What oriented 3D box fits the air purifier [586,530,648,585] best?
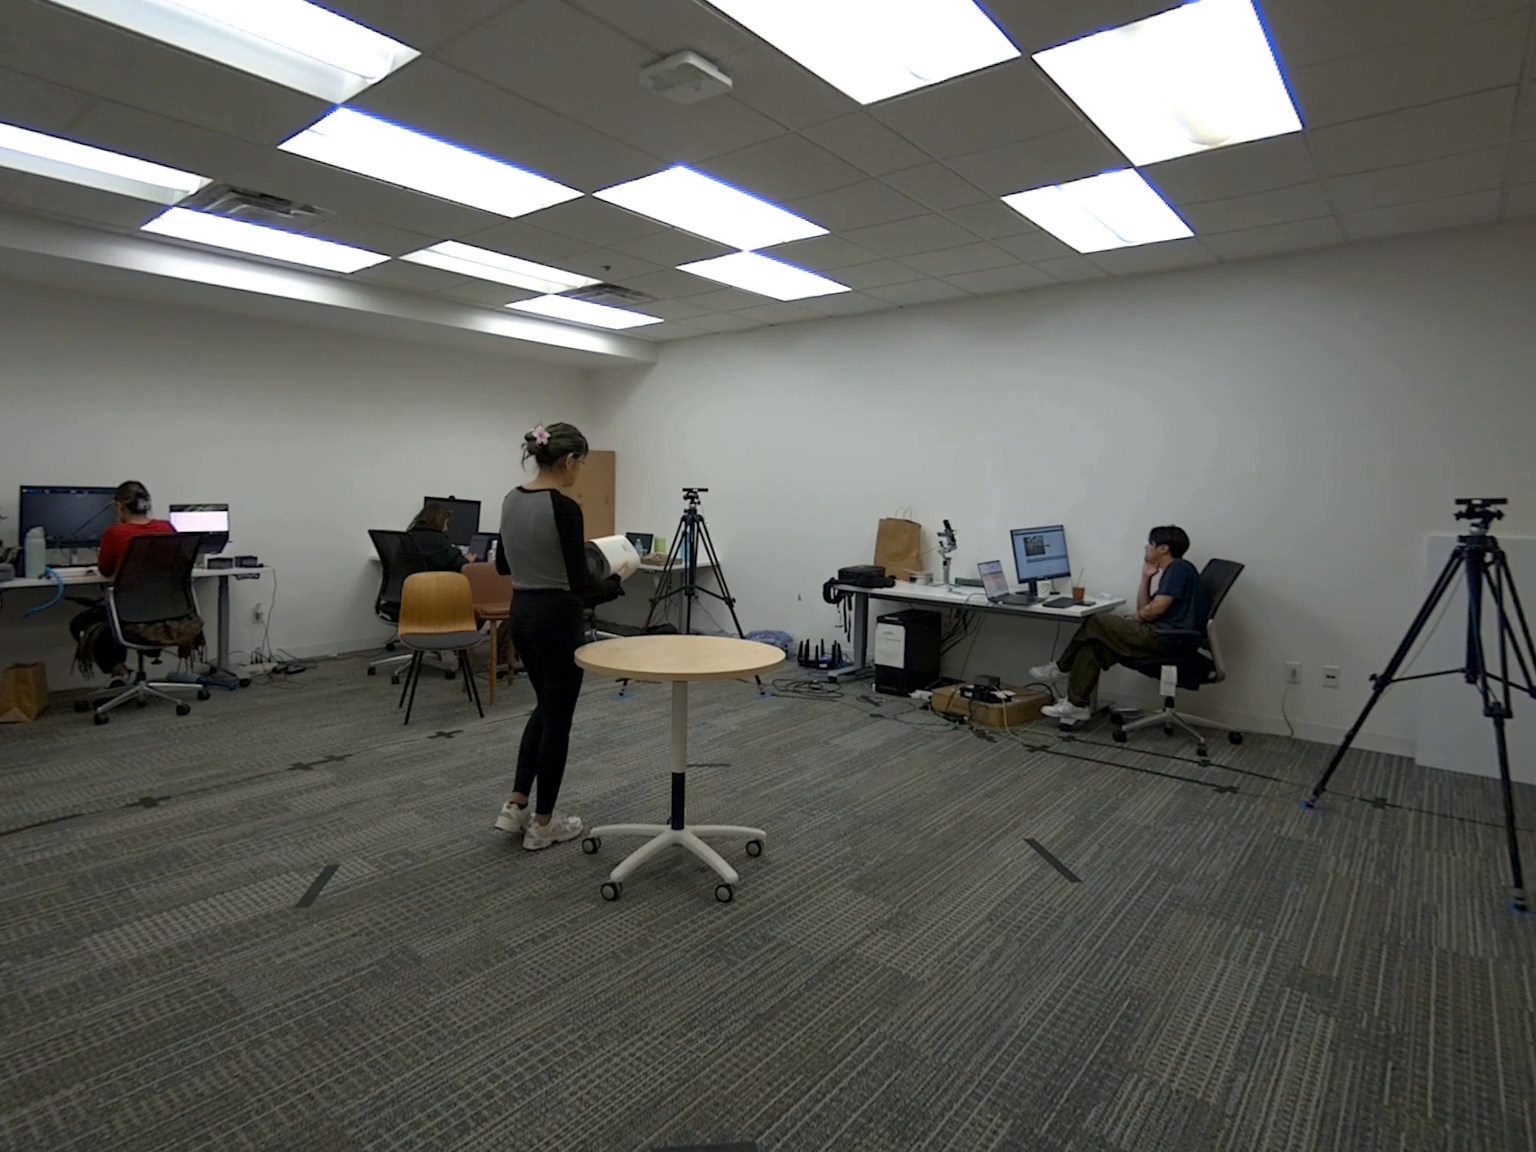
[{"bbox_3d":[-0.662,-0.058,3.429,0.172,0.173,0.261,-38,-7,22],"label":"air purifier"}]
